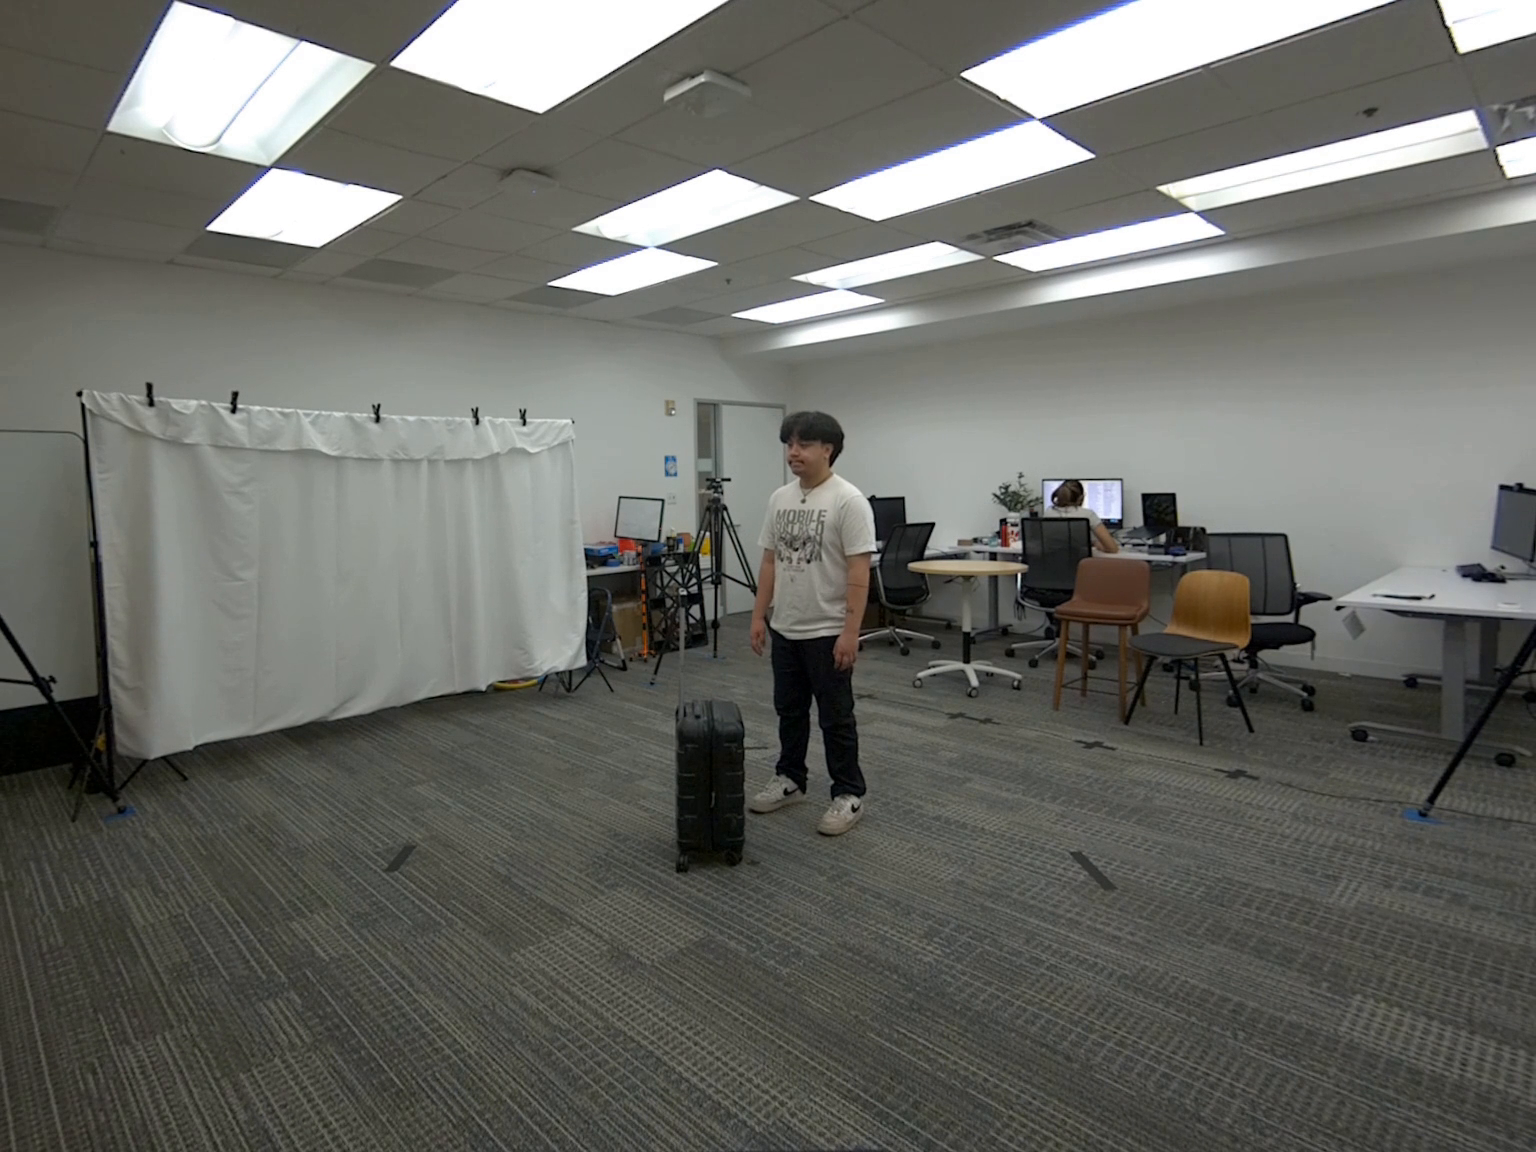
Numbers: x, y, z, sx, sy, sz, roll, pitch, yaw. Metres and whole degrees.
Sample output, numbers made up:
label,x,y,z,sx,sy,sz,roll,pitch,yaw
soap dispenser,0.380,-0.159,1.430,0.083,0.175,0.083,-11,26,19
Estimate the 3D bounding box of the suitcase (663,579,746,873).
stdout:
label,x,y,z,sx,sy,sz,roll,pitch,yaw
suitcase,-0.213,0.557,3.198,0.255,0.975,0.388,1,4,-7
